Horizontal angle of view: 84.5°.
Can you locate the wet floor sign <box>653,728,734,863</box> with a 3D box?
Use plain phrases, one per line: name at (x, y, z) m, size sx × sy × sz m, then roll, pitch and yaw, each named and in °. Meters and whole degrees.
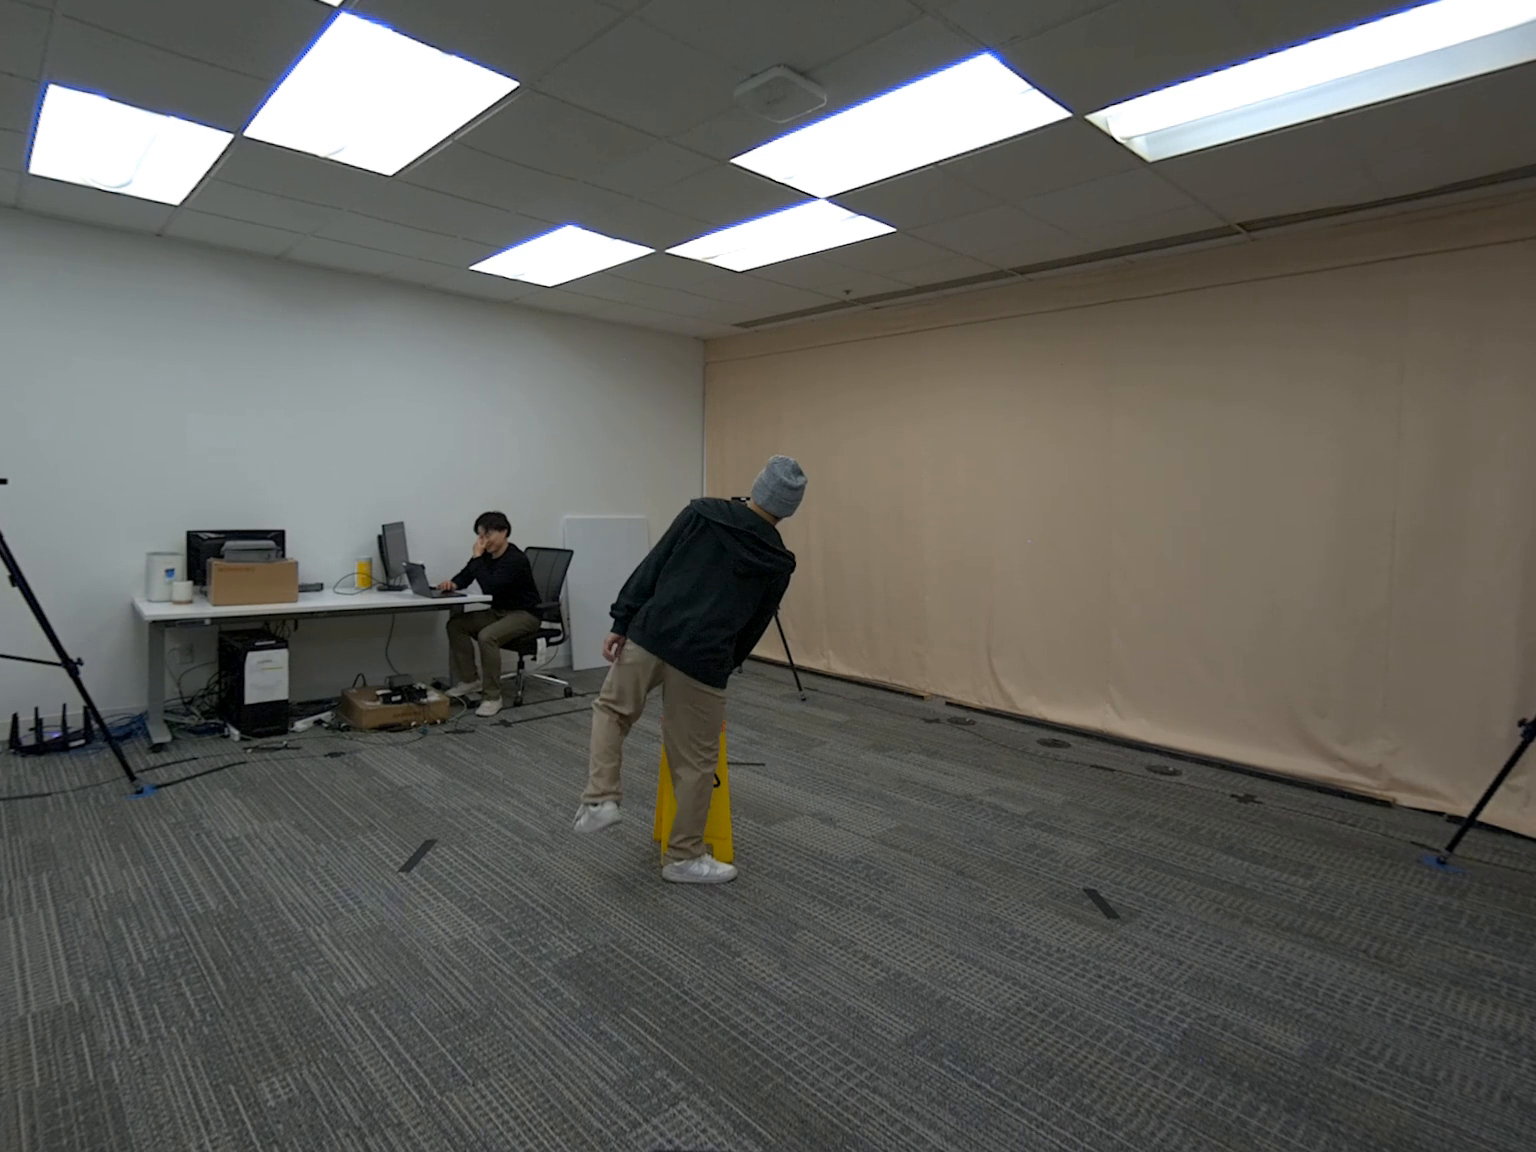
wet floor sign at (-0.298, 0.761, 3.312) m, size 0.279 × 0.645 × 0.293 m, roll 2°, pitch 2°, yaw -13°
